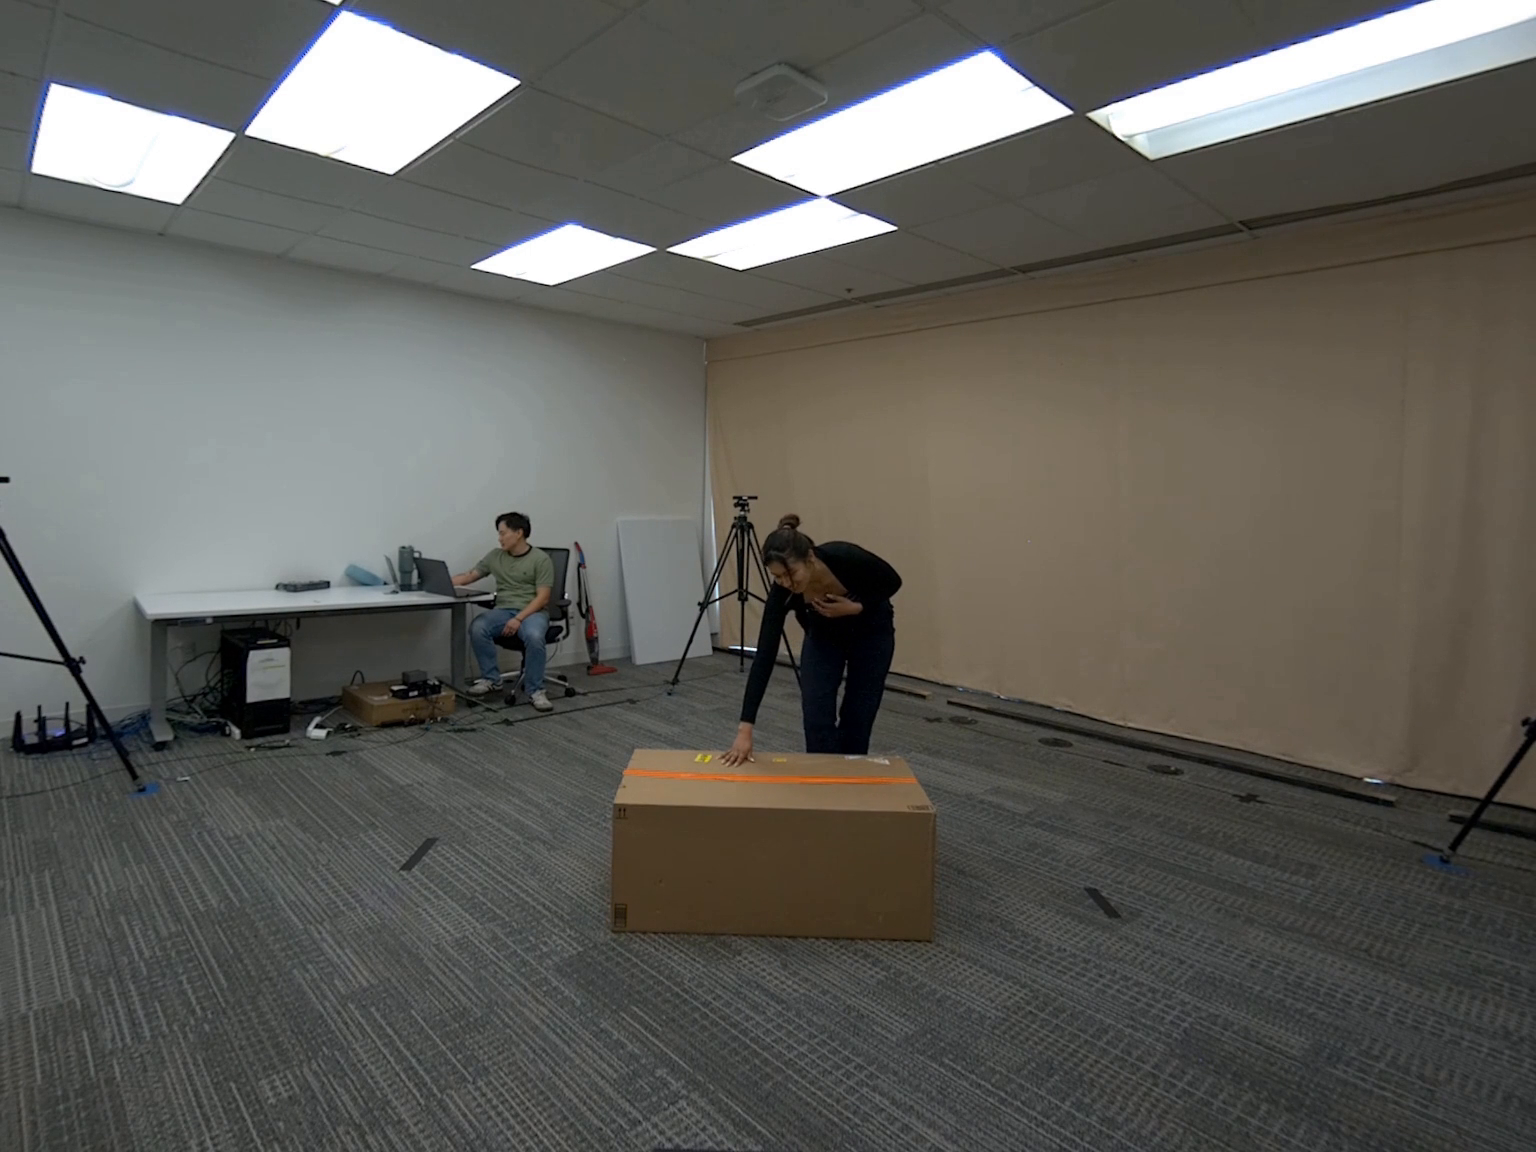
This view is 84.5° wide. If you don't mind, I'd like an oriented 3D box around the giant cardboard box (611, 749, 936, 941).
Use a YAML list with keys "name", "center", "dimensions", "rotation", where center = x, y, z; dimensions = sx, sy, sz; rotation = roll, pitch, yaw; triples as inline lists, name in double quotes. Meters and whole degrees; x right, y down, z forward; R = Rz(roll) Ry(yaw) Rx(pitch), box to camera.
- name: "giant cardboard box"
  center: [-0.002, 0.909, 2.932]
  dimensions: [1.026, 0.425, 0.579]
  rotation: [1, 4, 0]
